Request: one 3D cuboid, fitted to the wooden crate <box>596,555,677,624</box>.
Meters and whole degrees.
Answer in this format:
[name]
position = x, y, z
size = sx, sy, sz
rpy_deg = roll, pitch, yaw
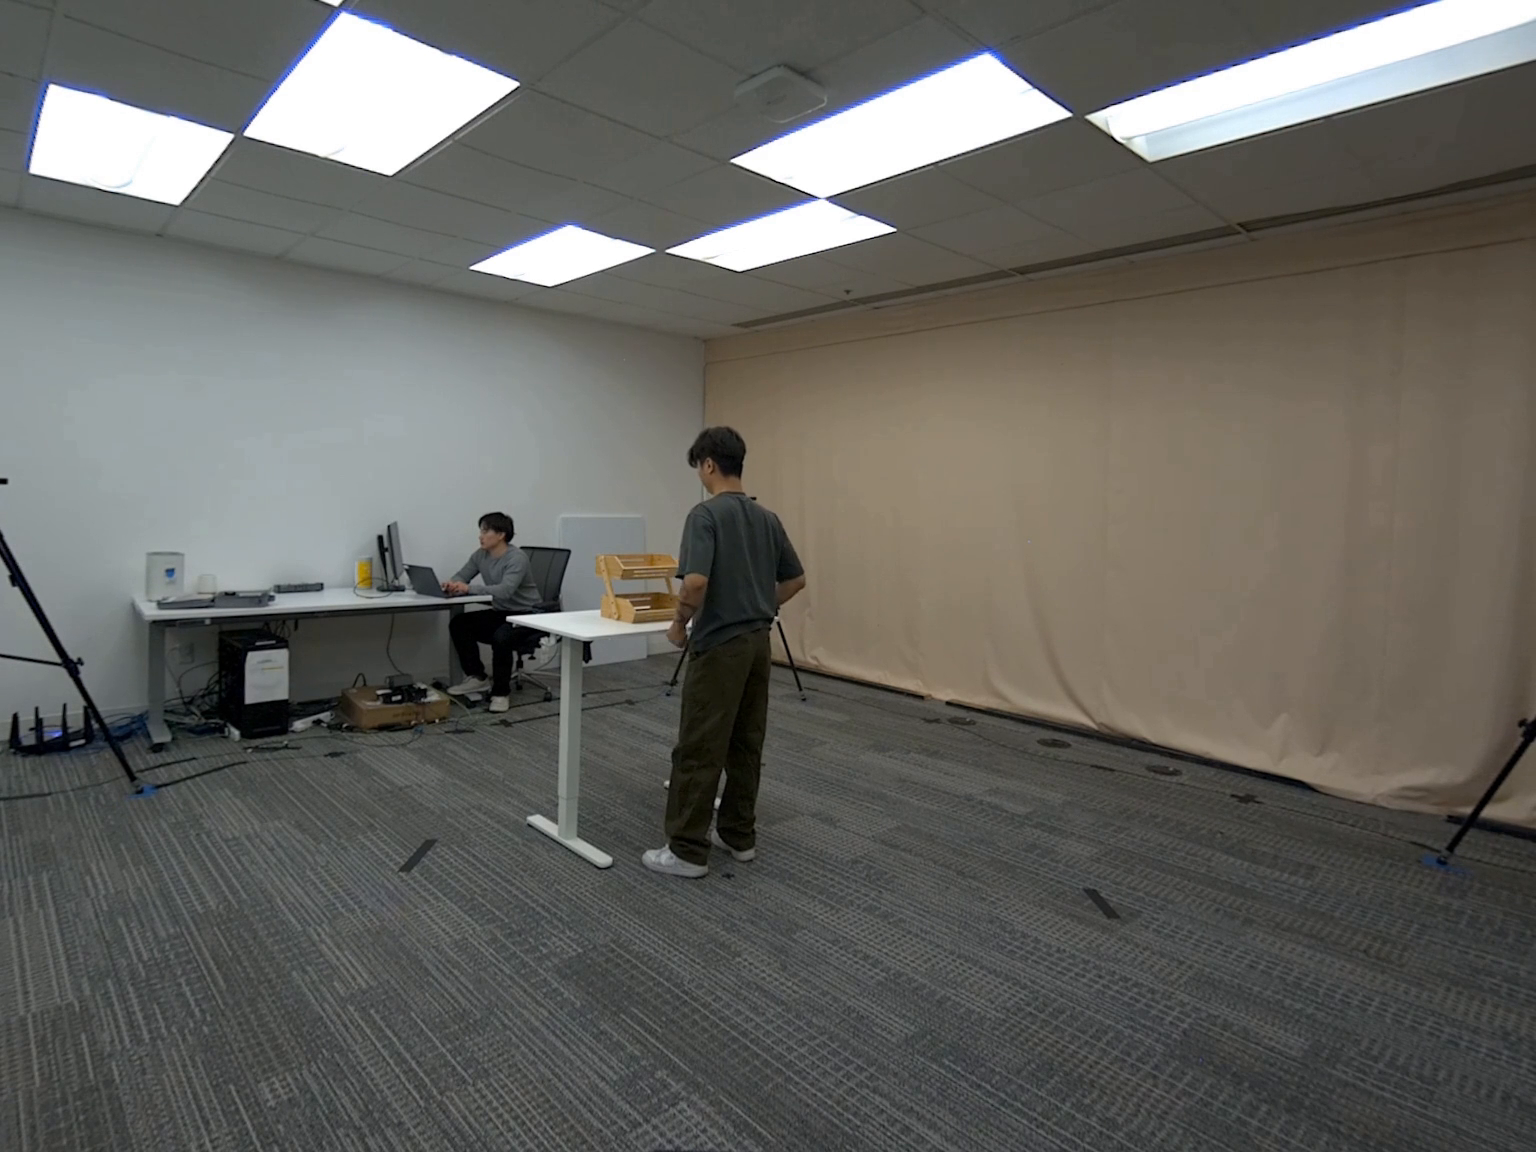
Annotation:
[wooden crate]
position = -0.532, 0.042, 3.562
size = 0.317, 0.273, 0.310
rpy_deg = -1, 4, -43
